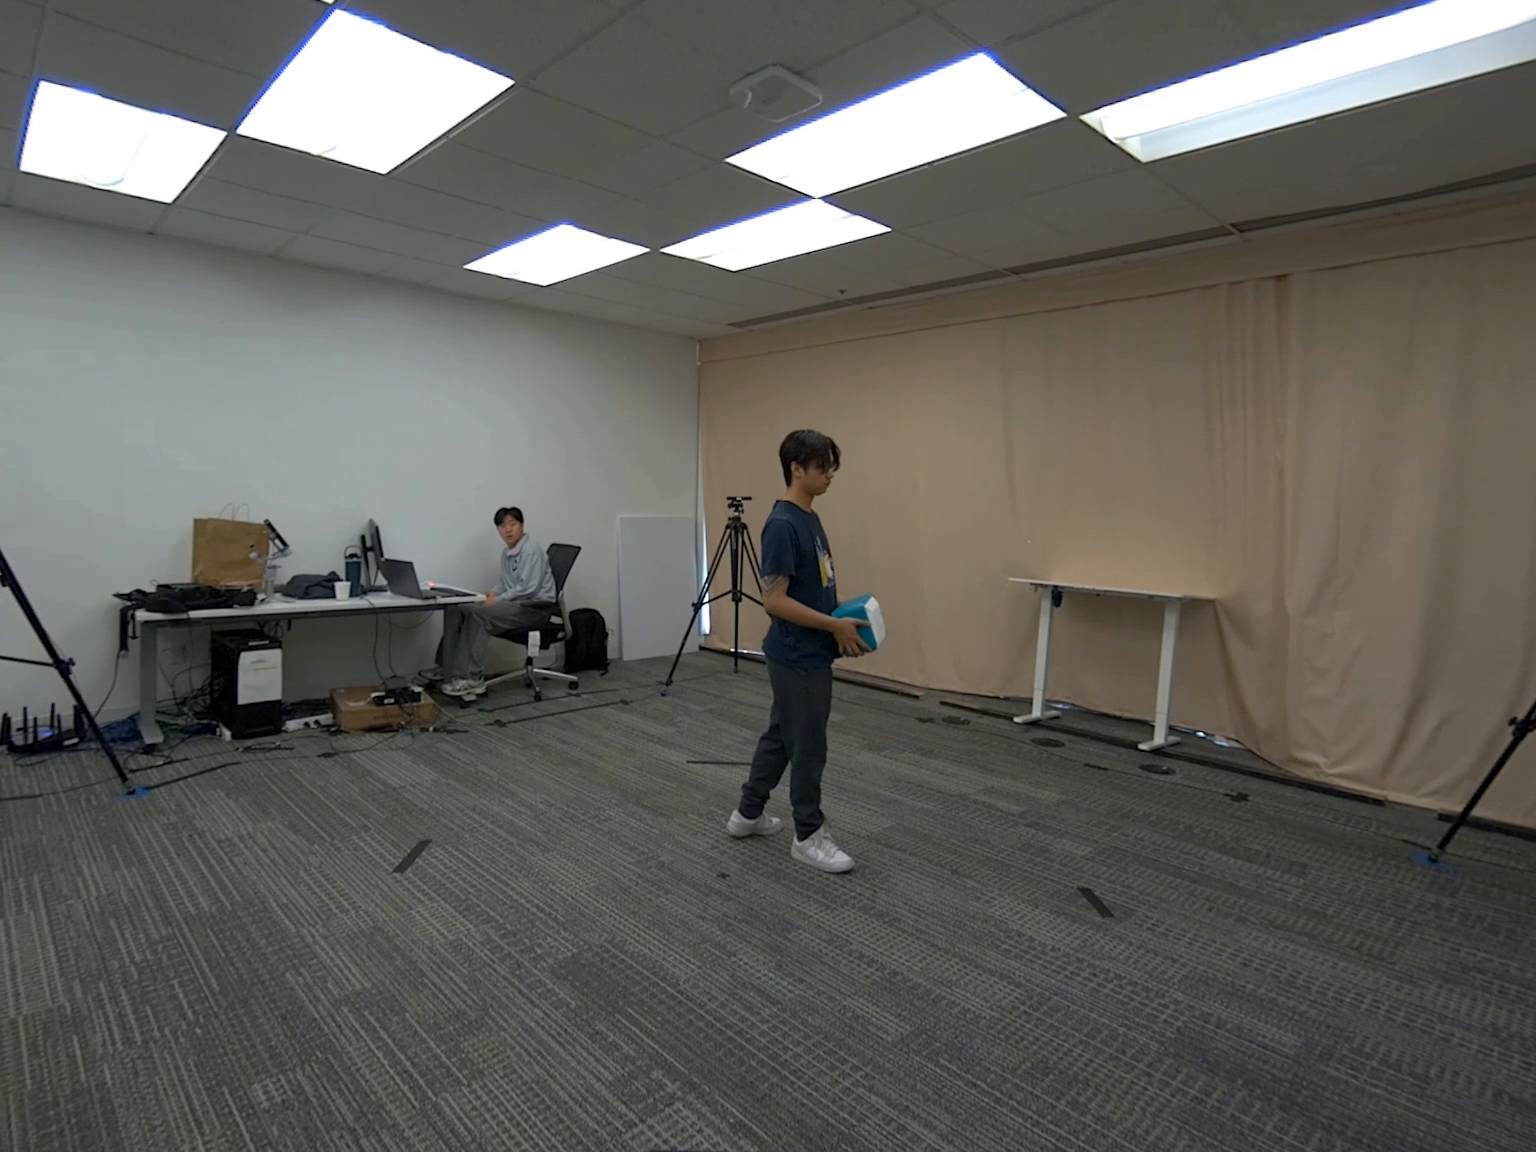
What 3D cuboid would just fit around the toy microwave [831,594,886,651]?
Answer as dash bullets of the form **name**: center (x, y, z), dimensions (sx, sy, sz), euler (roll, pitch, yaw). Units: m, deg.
- **toy microwave**: center (0.345, 0.179, 3.215), dimensions (0.154, 0.184, 0.284), euler (-16, 3, 18)
